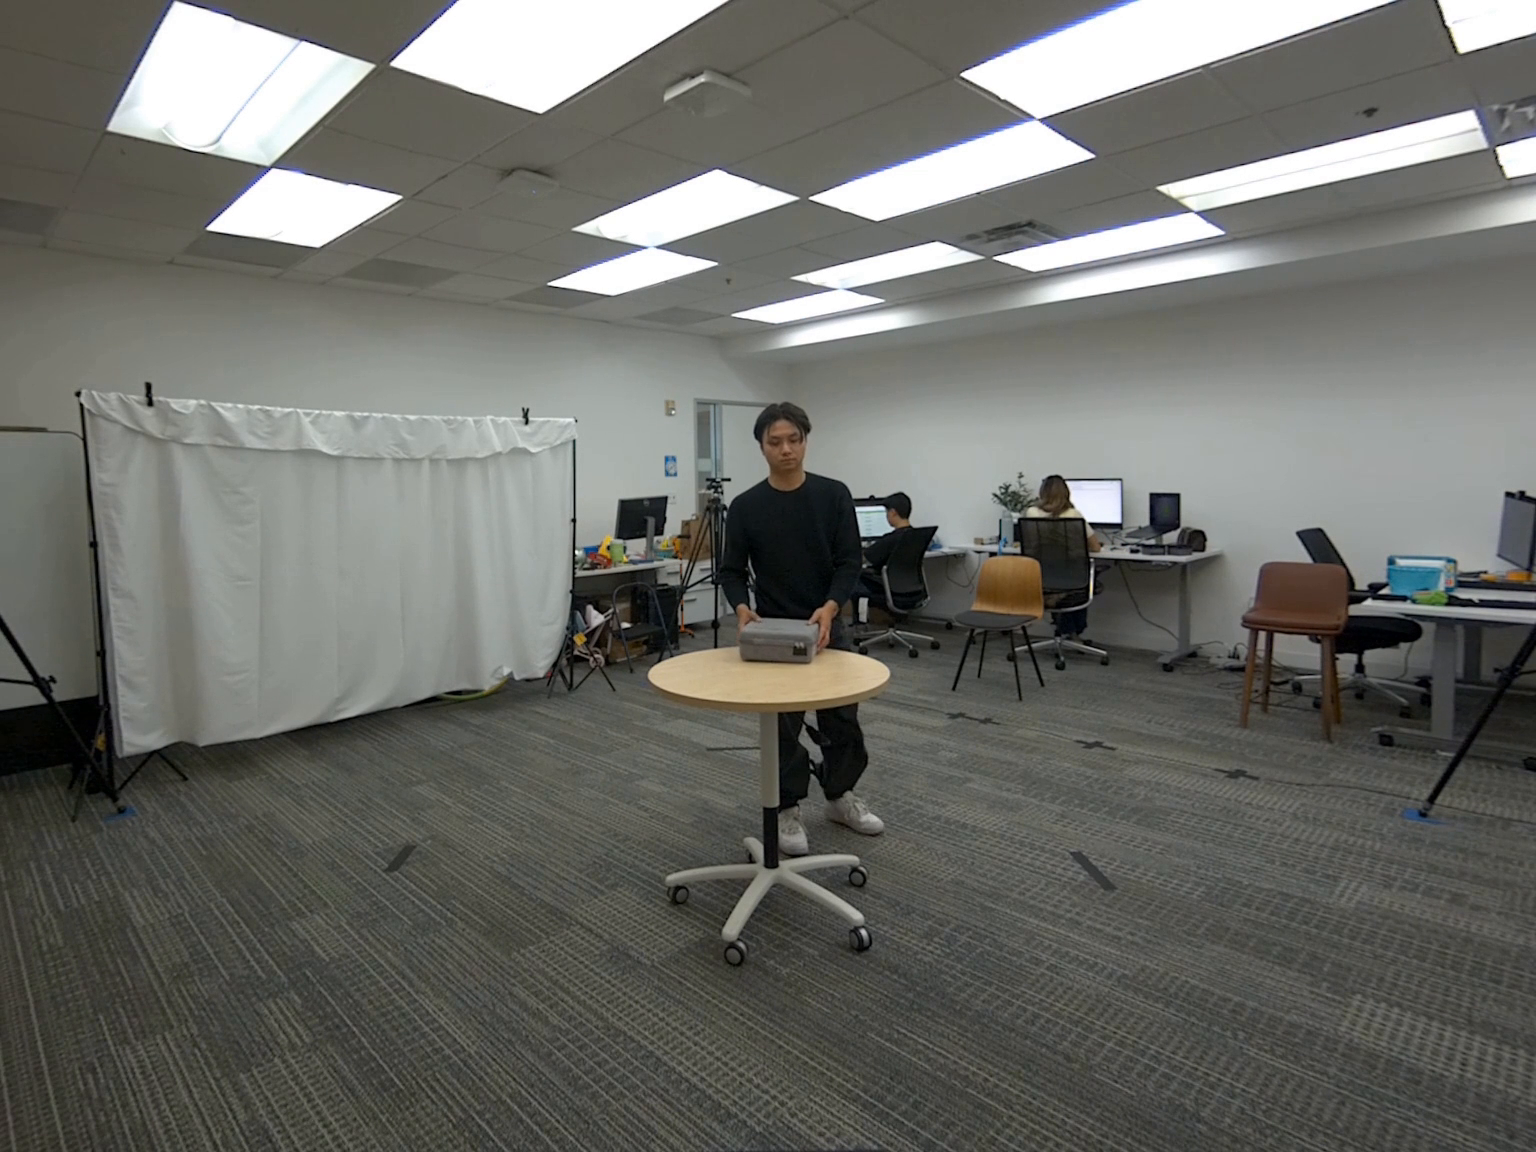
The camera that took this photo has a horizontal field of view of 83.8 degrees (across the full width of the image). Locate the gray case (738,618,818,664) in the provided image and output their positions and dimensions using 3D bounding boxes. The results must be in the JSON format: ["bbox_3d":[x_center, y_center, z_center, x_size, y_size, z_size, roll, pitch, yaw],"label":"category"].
[{"bbox_3d":[0.045,0.220,2.938,0.260,0.104,0.259,0,6,12],"label":"gray case"}]
